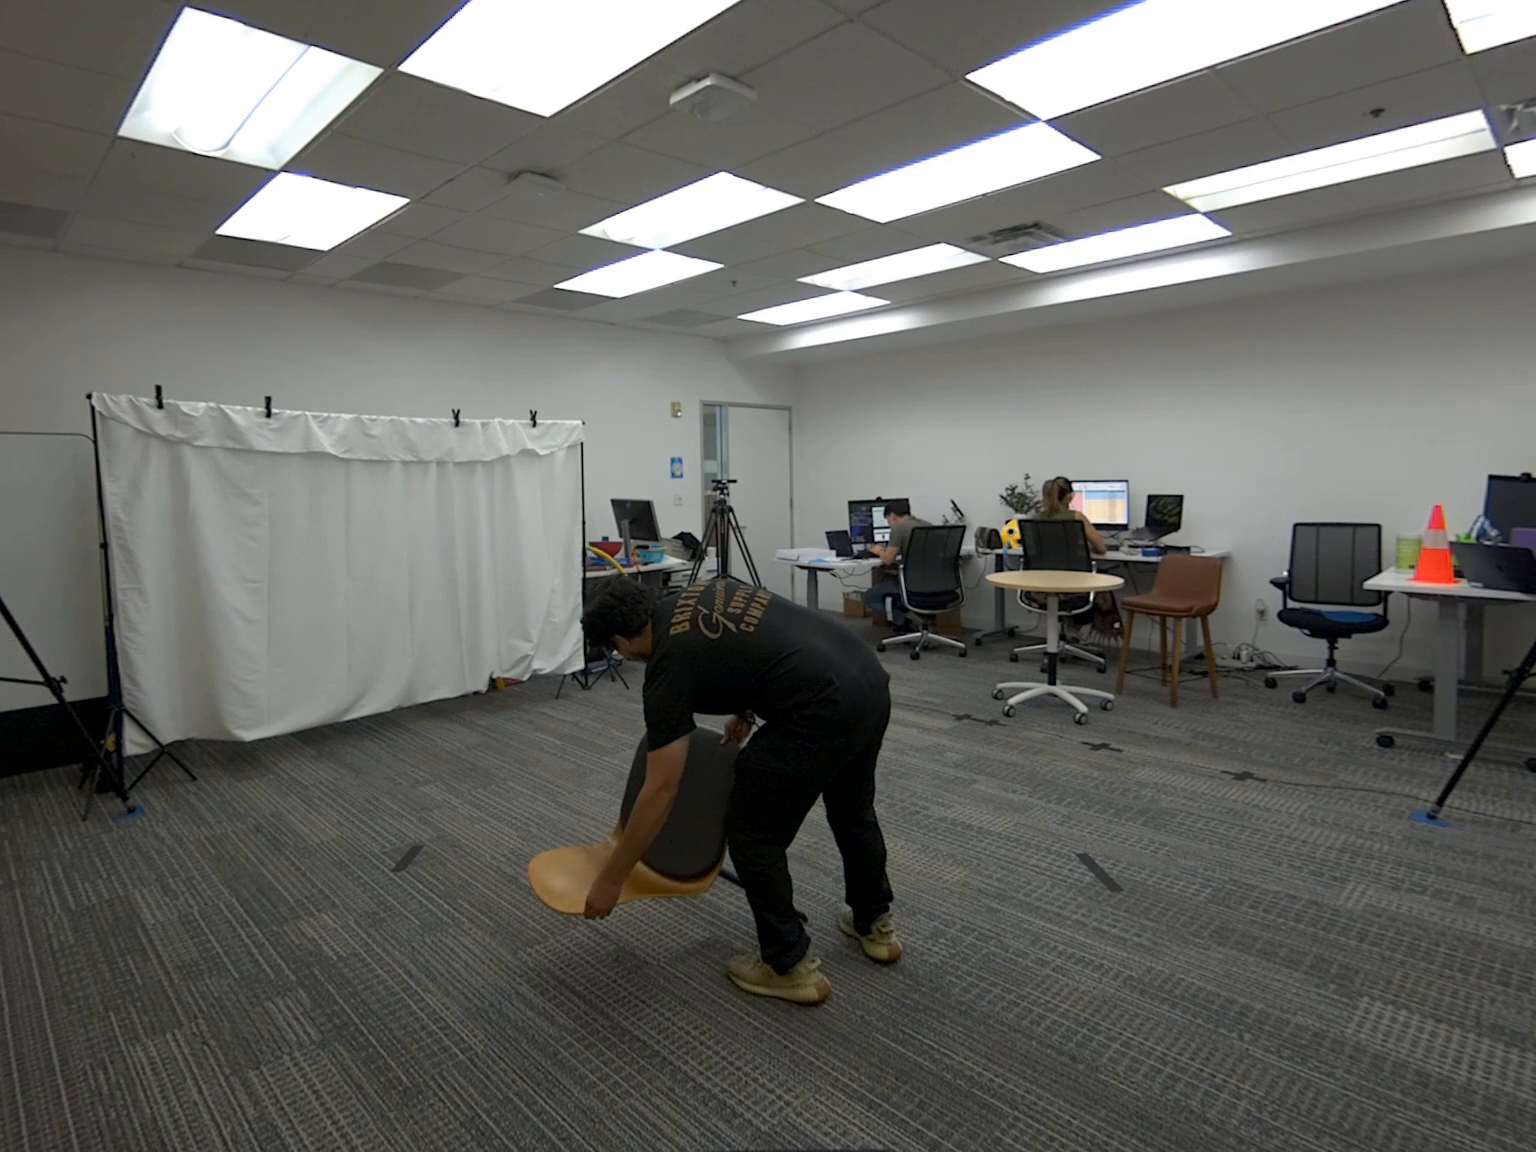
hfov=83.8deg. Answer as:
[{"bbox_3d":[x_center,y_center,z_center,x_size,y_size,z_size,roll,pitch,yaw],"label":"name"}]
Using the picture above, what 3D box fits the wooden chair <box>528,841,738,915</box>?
[{"bbox_3d":[-0.257,0.737,2.619,0.493,0.526,0.846,5,-9,44],"label":"wooden chair"}]
